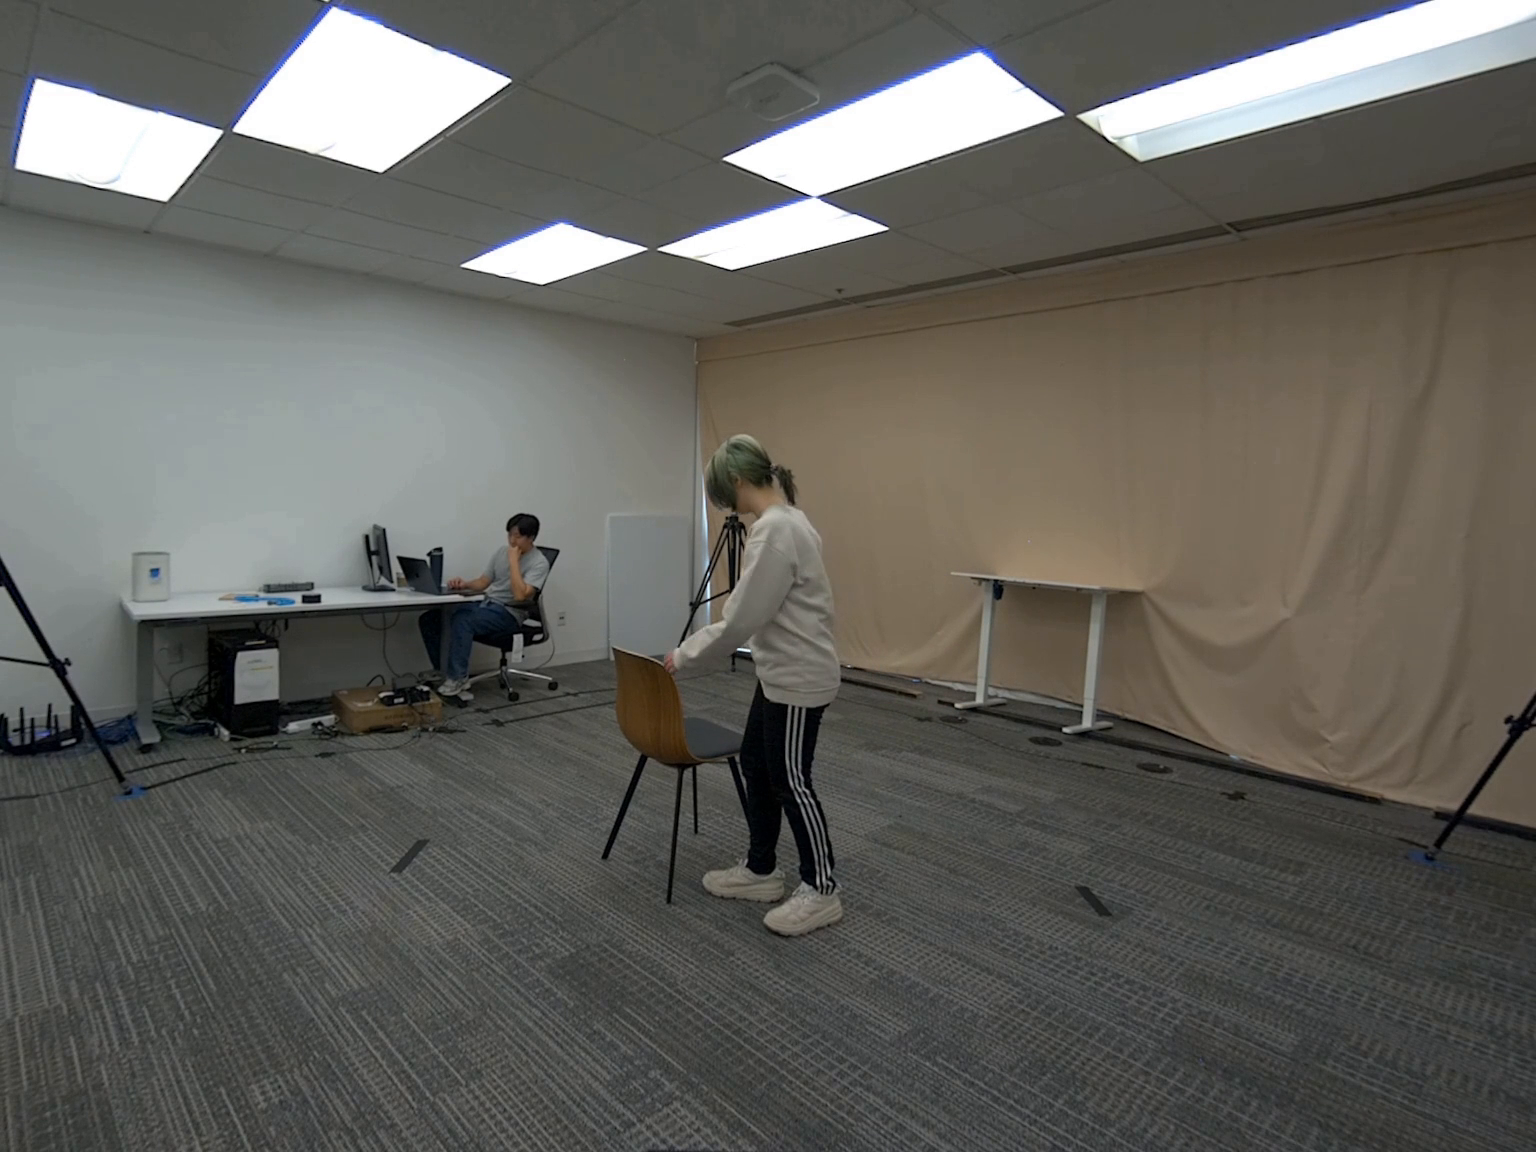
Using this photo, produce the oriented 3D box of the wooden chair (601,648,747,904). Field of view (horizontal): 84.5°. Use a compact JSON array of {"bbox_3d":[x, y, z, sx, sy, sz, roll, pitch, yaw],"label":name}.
[{"bbox_3d":[-0.310,0.665,3.167,0.512,0.873,0.490,-7,8,-40],"label":"wooden chair"}]
